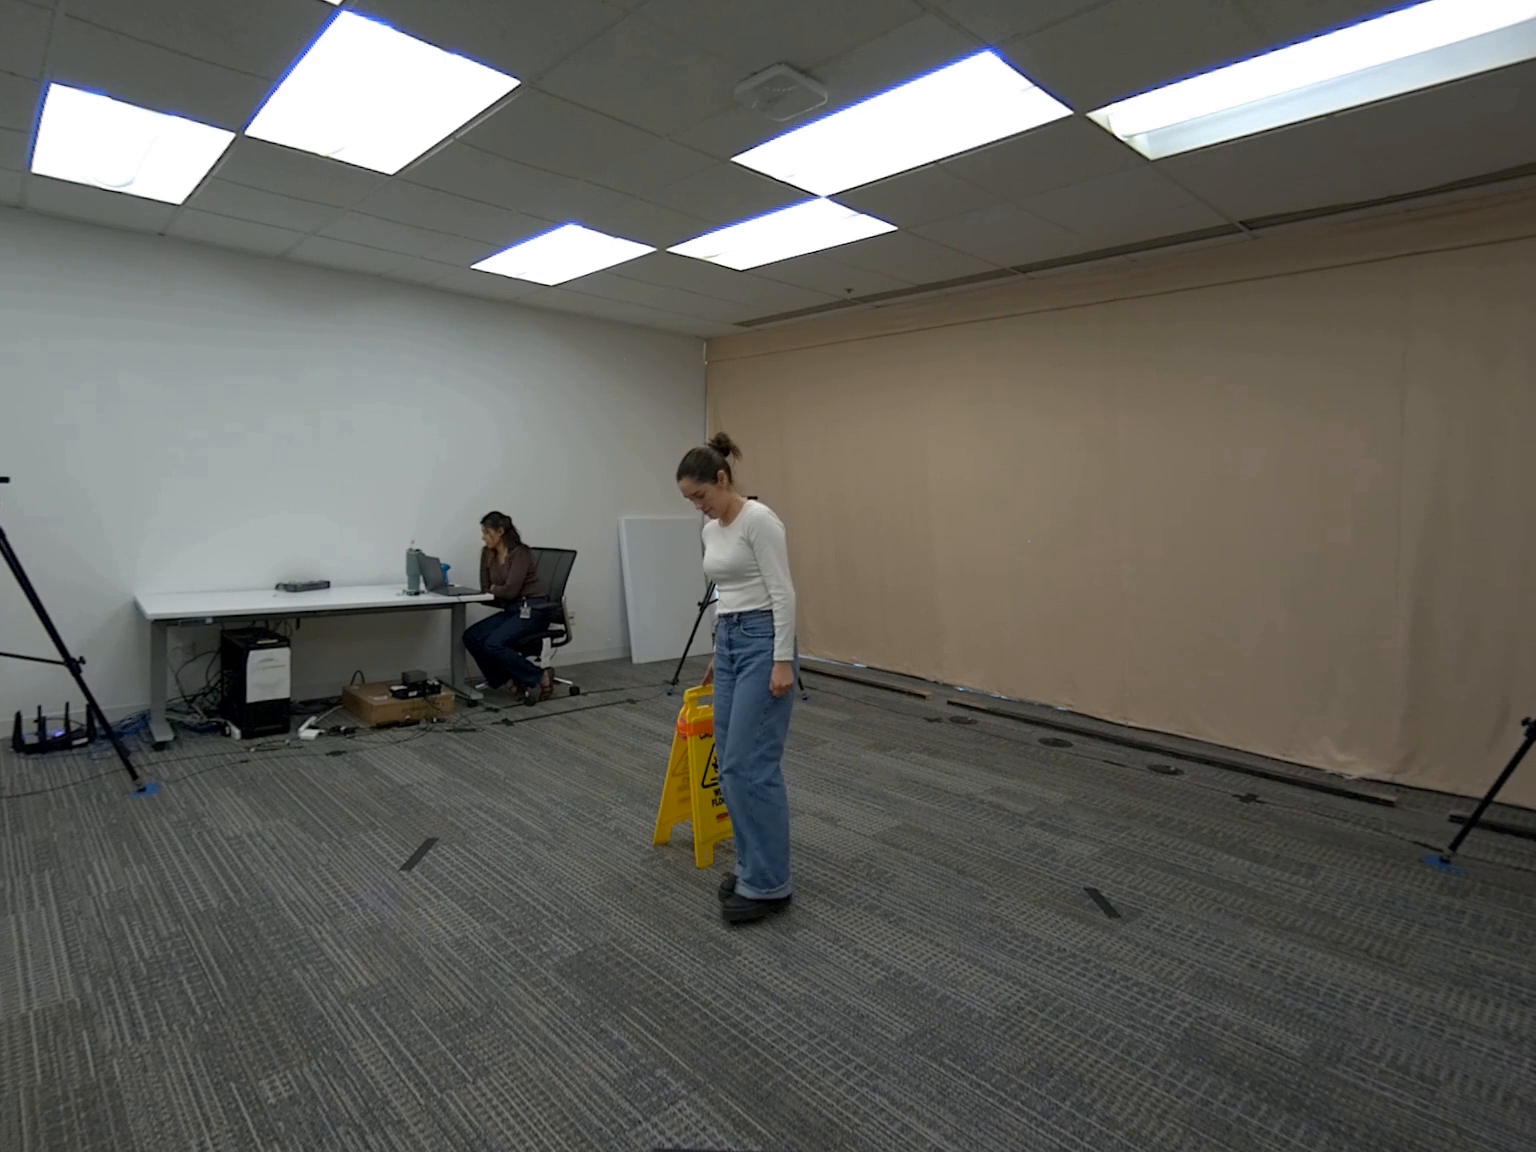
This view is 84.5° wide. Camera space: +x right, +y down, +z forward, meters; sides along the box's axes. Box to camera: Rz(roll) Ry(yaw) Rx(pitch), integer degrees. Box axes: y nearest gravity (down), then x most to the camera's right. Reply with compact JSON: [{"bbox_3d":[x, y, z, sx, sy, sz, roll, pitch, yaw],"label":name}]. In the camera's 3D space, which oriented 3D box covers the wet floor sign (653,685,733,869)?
[{"bbox_3d":[-0.262,0.755,3.322,0.276,0.645,0.297,-1,3,-43],"label":"wet floor sign"}]
